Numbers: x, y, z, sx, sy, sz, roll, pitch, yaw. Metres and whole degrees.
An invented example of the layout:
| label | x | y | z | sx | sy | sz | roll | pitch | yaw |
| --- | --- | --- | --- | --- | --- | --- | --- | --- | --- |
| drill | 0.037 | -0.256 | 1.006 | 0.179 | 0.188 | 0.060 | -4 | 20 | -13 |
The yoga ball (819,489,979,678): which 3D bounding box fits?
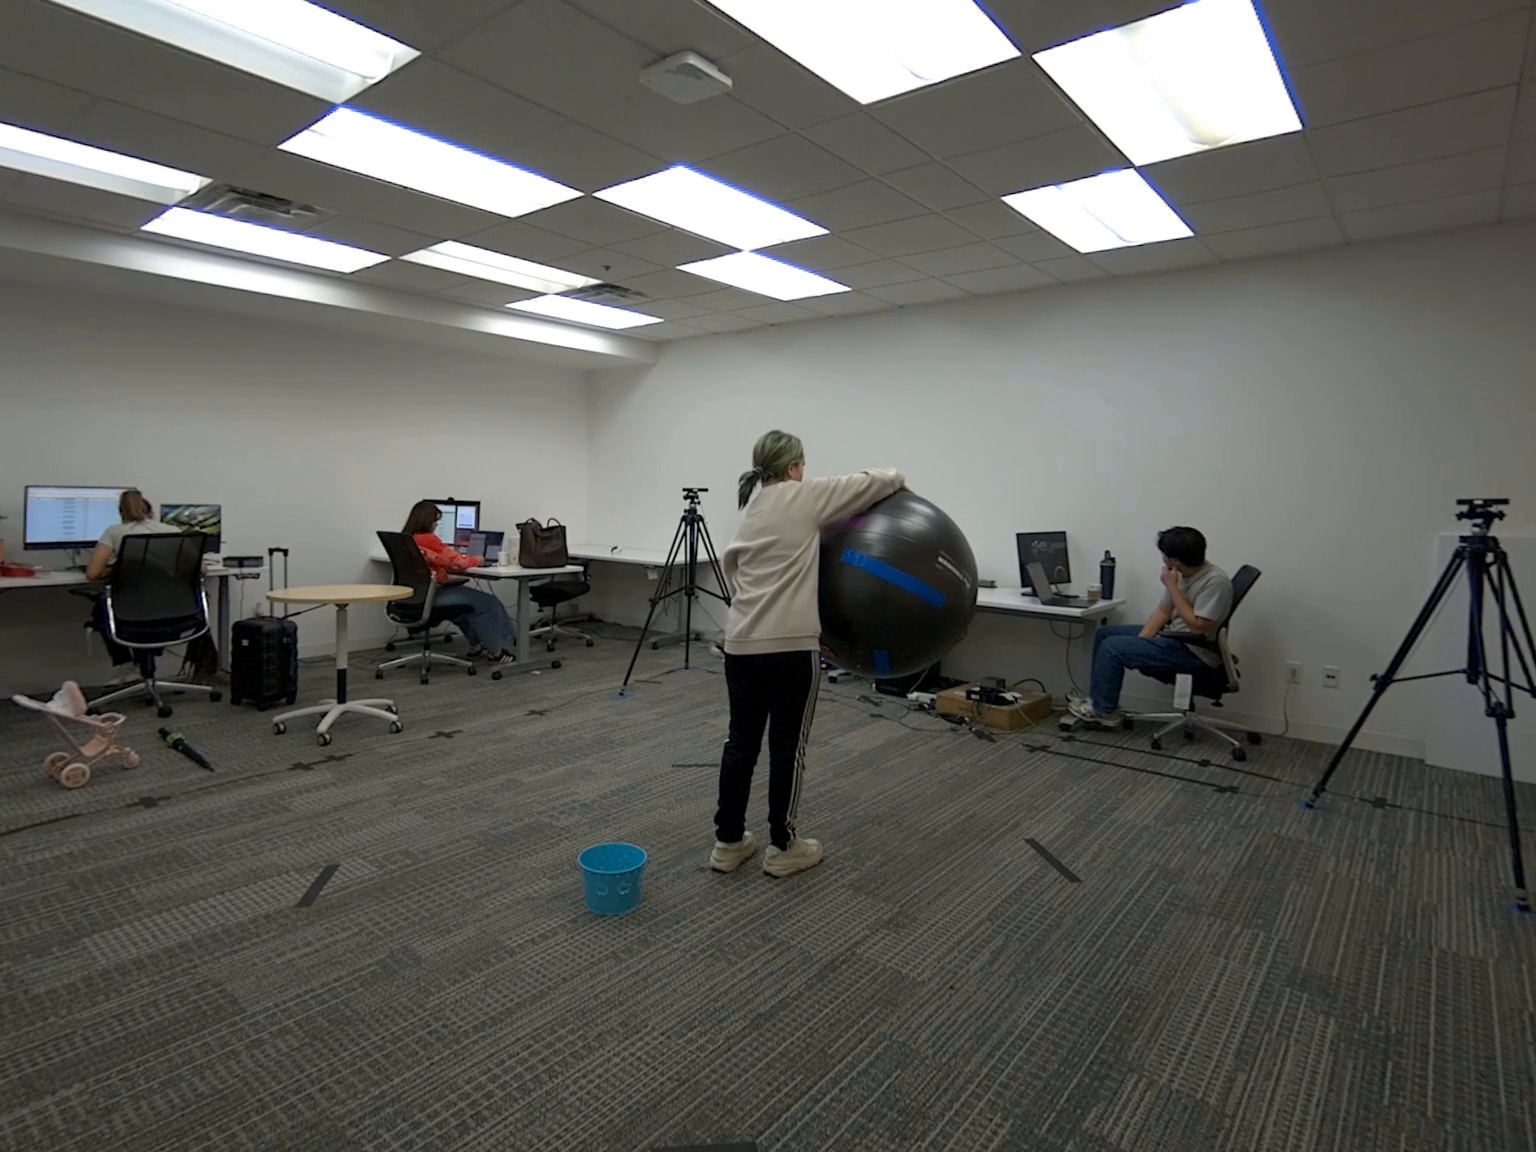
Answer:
| label | x | y | z | sx | sy | sz | roll | pitch | yaw |
| --- | --- | --- | --- | --- | --- | --- | --- | --- | --- |
| yoga ball | 0.445 | 0.022 | 3.409 | 0.757 | 0.756 | 0.761 | 1 | 4 | -2 |
